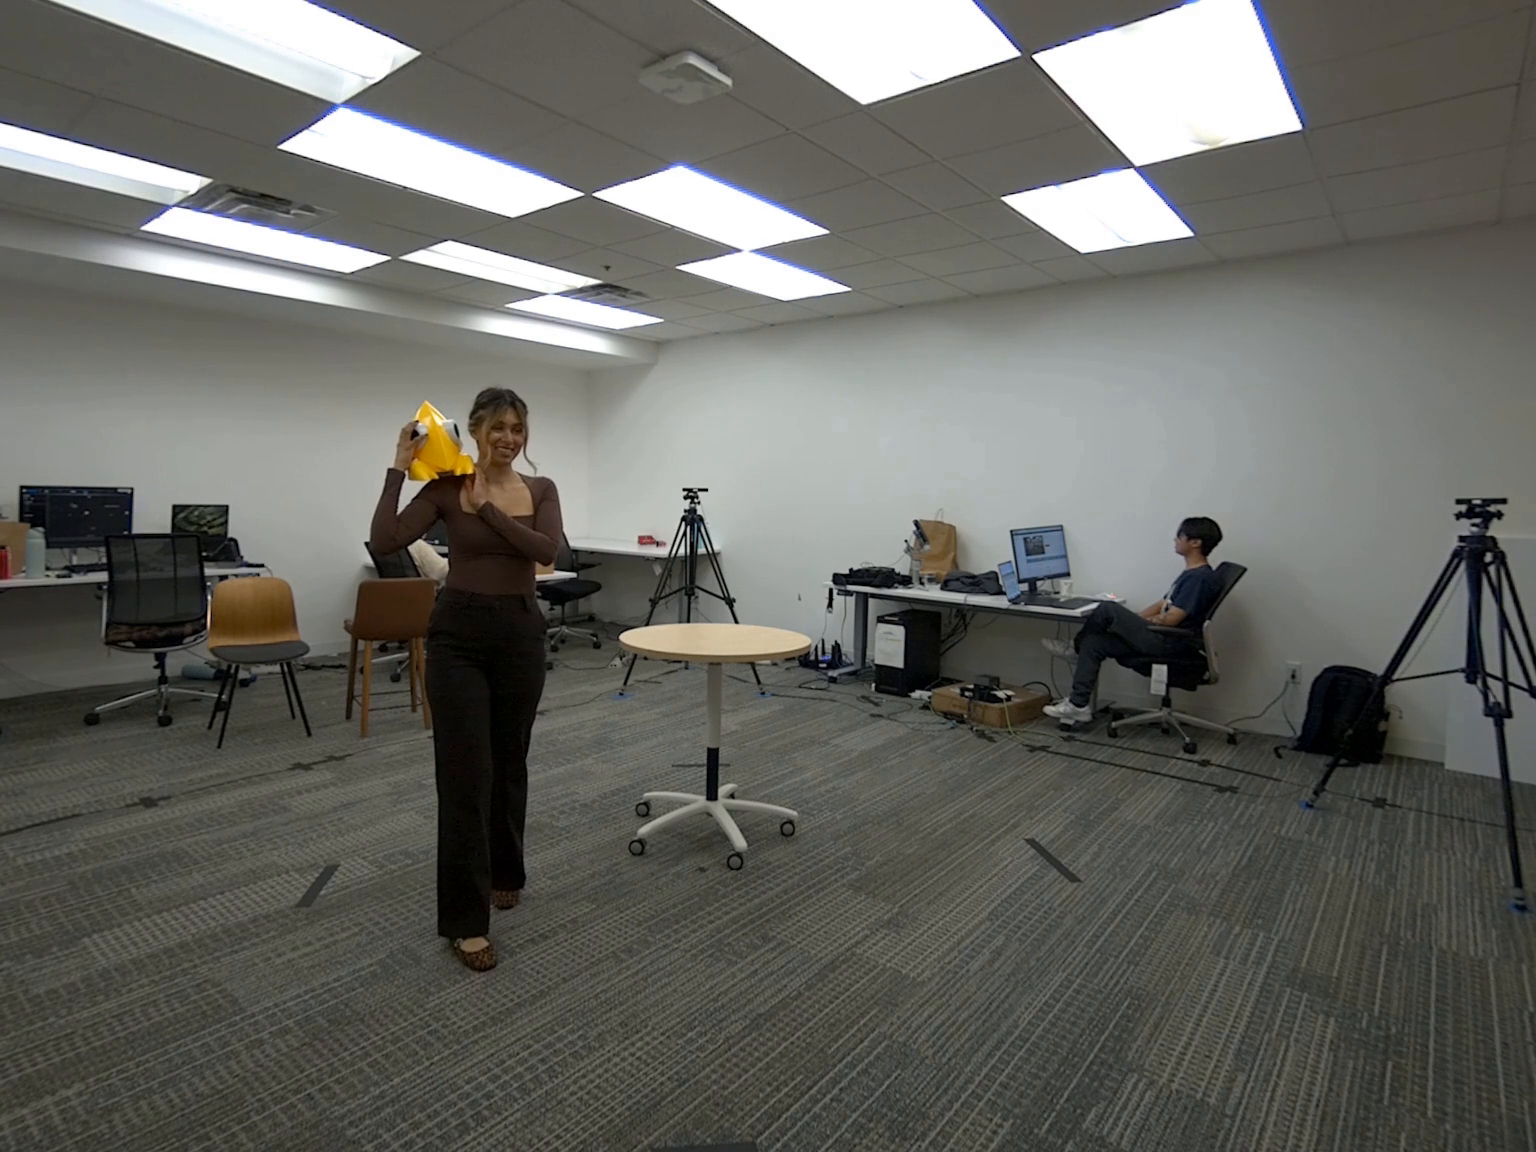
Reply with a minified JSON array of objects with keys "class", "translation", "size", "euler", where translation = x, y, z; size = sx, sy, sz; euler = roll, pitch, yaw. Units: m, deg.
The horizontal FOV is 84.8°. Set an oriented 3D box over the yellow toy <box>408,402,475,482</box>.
[{"class":"yellow toy","translation":[-1.040,-0.431,2.646],"size":[0.200,0.227,0.200],"euler":[-13,17,-33]}]
